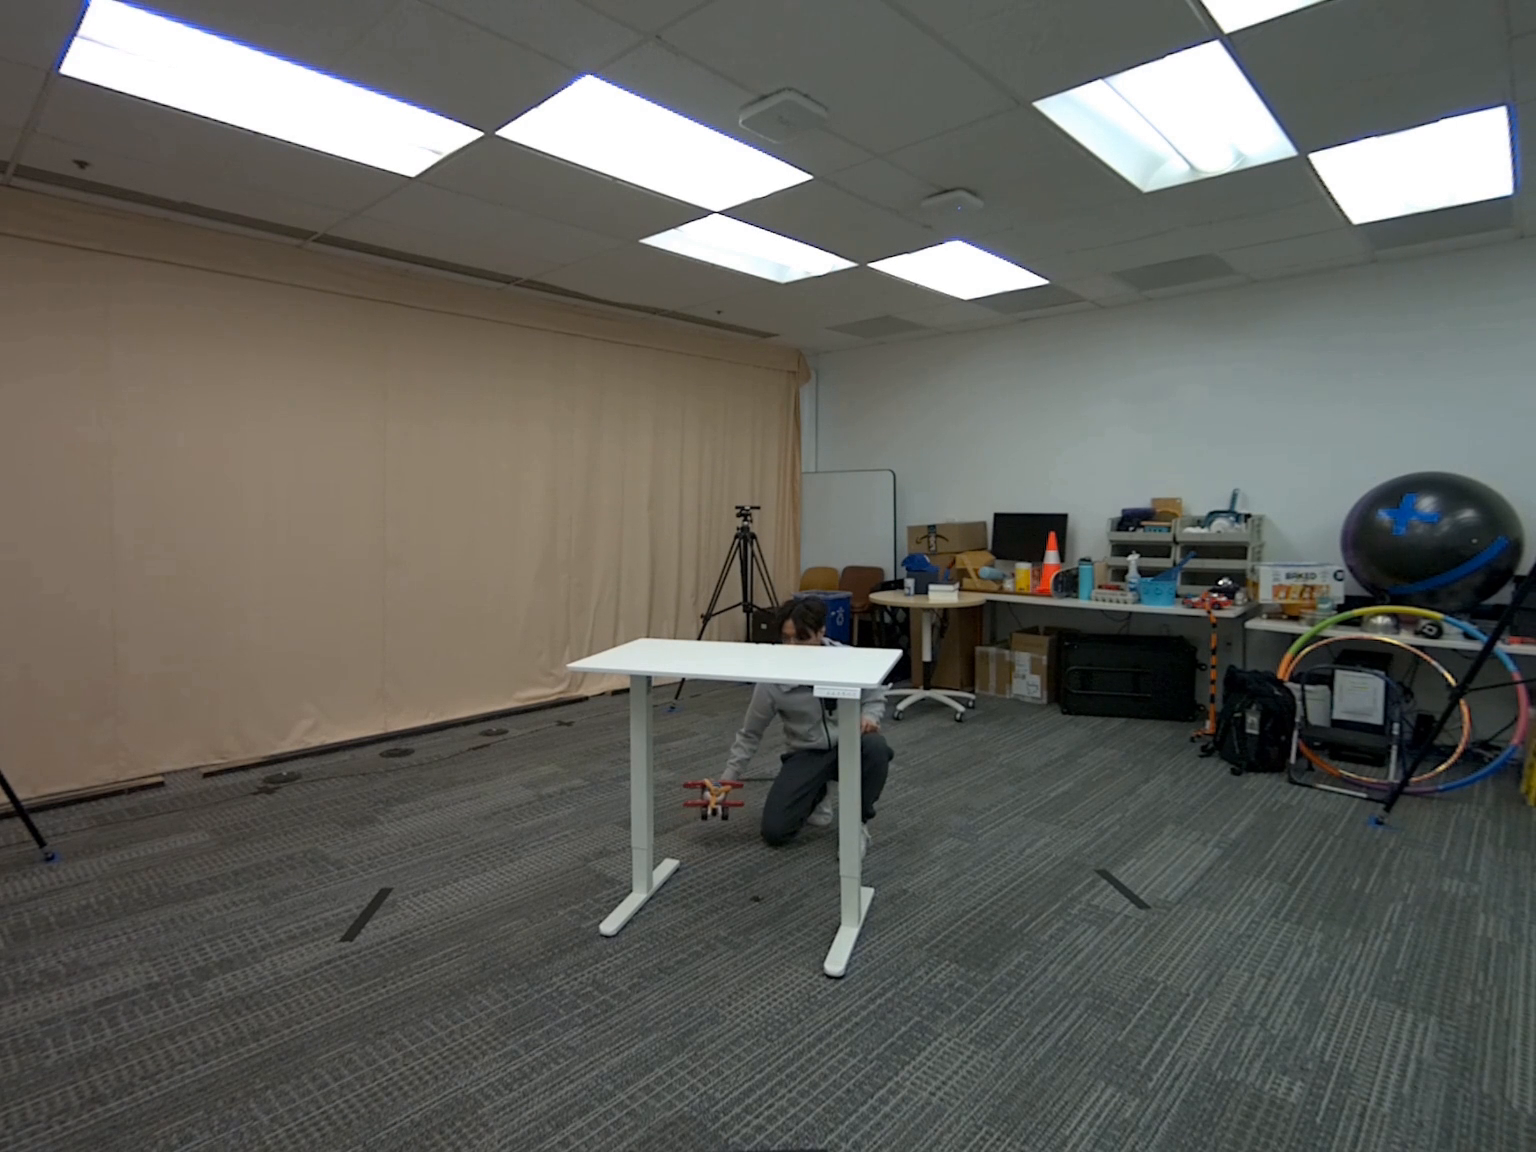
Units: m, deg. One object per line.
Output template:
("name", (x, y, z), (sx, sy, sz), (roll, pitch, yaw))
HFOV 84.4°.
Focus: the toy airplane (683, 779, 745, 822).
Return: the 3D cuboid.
("toy airplane", (-0.253, 0.936, 3.536), (0.243, 0.157, 0.266), (10, -14, -34))
